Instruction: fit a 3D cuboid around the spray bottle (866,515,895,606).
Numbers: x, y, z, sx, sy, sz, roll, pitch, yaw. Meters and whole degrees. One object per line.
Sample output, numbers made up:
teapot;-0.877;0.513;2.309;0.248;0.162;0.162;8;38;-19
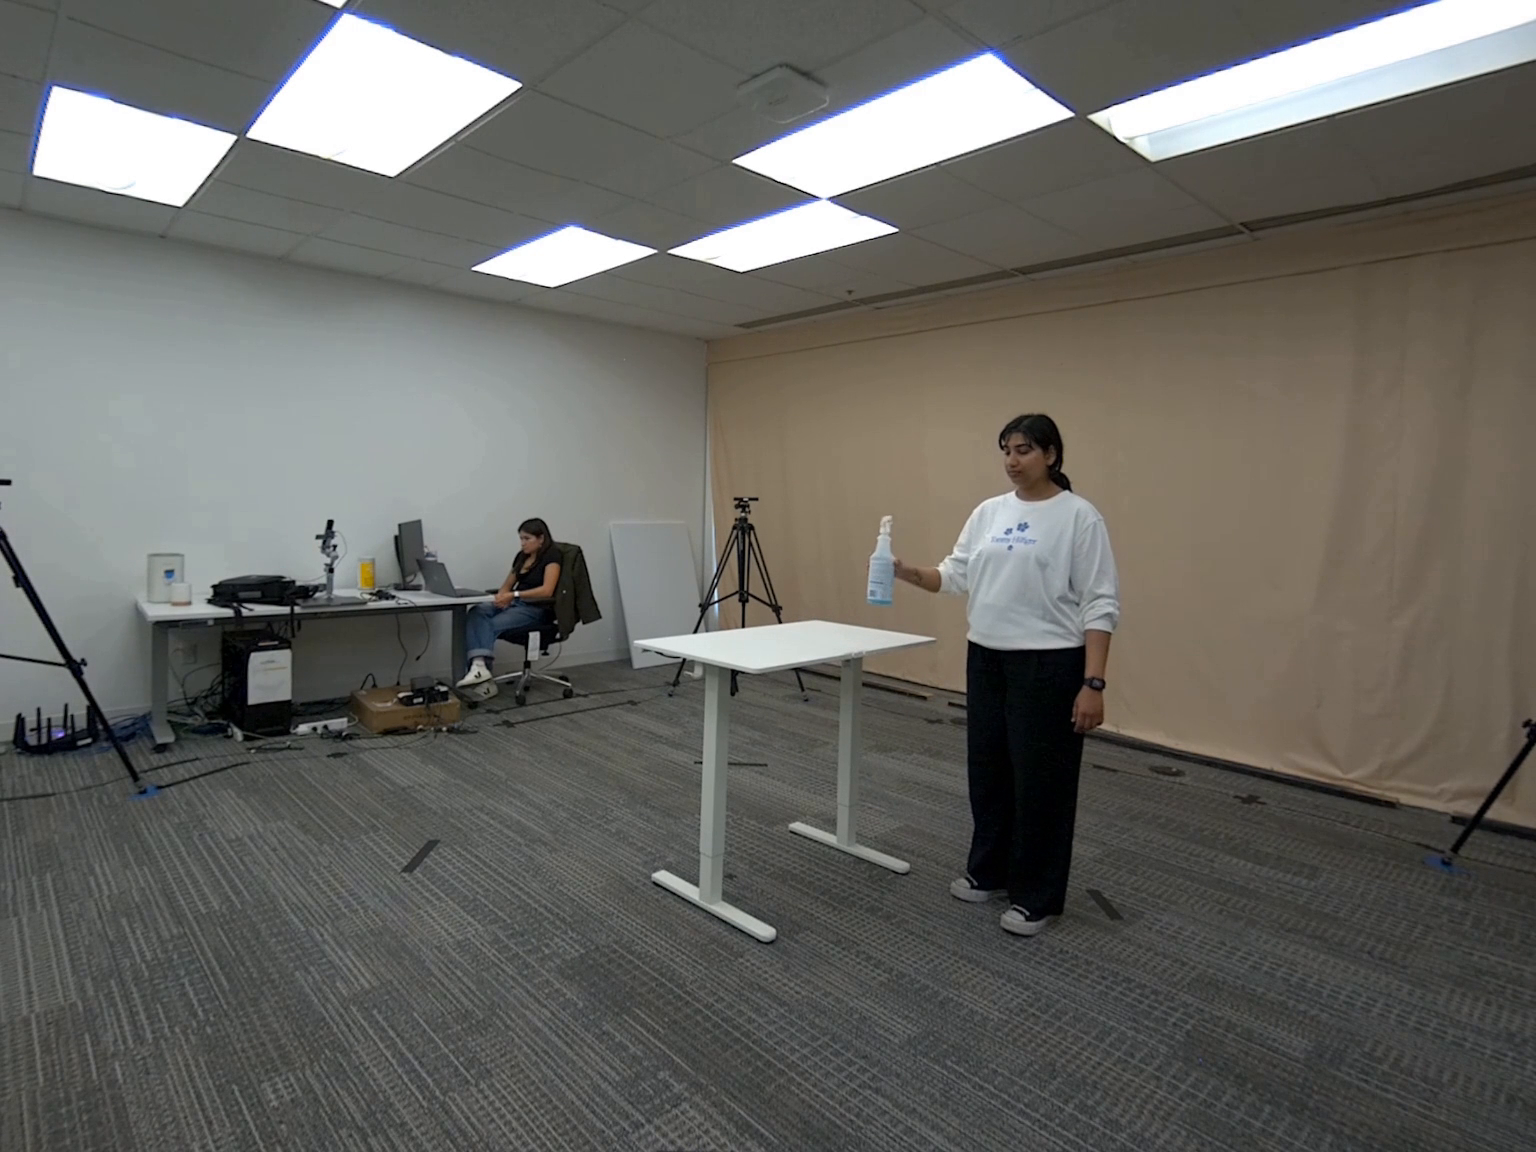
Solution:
spray bottle;0.387;-0.047;2.846;0.088;0.297;0.088;7;1;19
